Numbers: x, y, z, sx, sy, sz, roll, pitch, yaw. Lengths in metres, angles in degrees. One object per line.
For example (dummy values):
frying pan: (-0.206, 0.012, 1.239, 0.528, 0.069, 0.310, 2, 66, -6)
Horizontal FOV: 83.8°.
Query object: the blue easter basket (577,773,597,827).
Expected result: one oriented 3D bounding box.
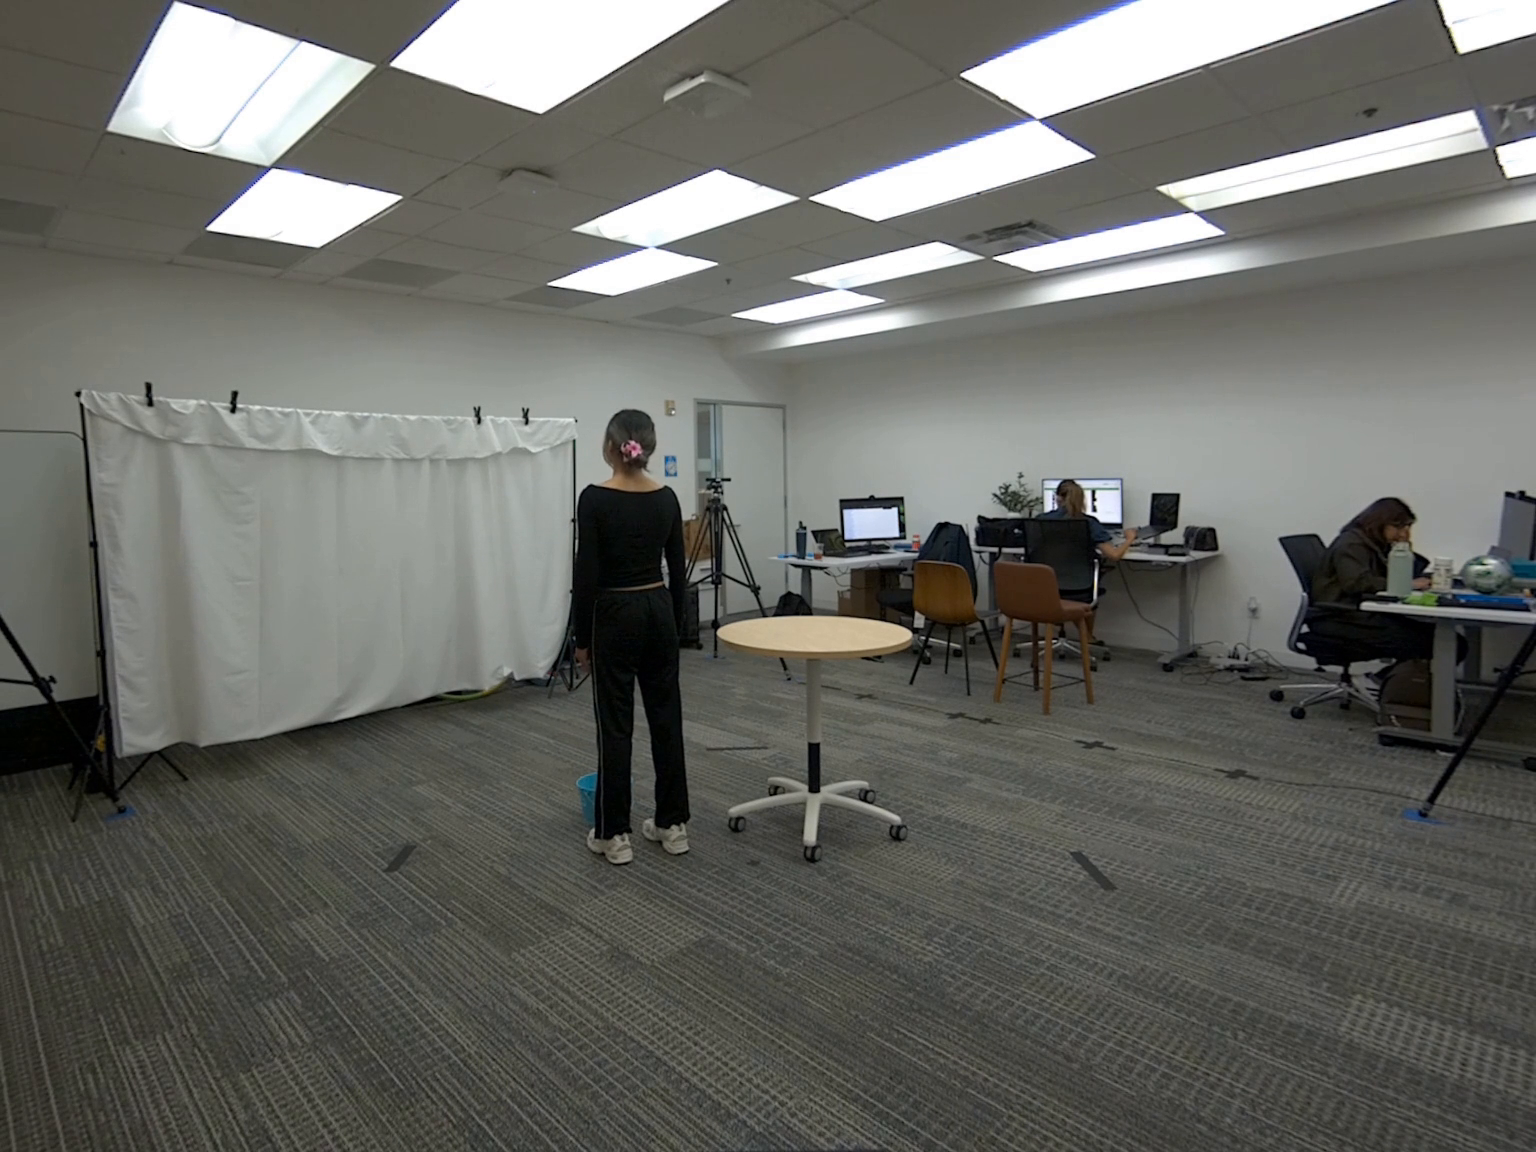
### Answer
blue easter basket: (-0.677, 0.931, 3.554, 0.243, 0.155, 0.245, -1, 5, -2)
